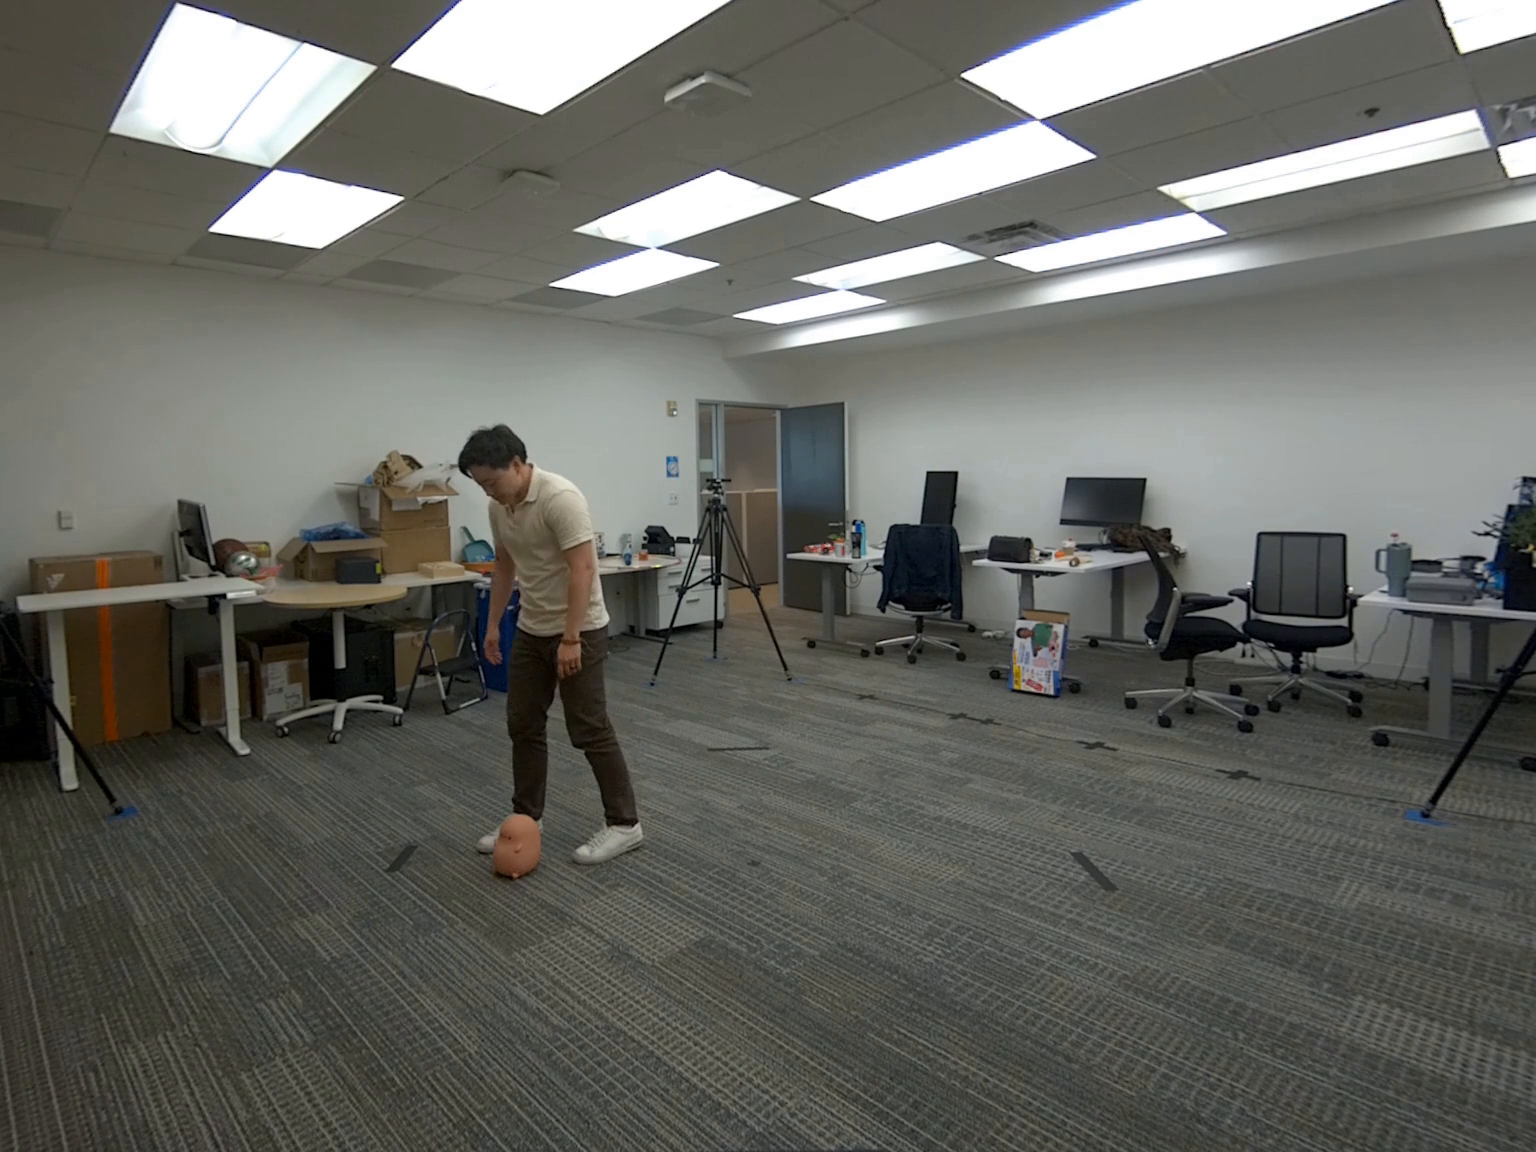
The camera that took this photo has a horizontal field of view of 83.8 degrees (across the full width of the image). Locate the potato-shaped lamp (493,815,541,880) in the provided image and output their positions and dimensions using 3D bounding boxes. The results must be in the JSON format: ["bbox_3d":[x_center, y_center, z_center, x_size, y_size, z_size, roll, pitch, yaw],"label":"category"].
[{"bbox_3d":[-0.905,0.964,3.089,0.169,0.198,0.167,-2,3,31],"label":"potato-shaped lamp"}]
